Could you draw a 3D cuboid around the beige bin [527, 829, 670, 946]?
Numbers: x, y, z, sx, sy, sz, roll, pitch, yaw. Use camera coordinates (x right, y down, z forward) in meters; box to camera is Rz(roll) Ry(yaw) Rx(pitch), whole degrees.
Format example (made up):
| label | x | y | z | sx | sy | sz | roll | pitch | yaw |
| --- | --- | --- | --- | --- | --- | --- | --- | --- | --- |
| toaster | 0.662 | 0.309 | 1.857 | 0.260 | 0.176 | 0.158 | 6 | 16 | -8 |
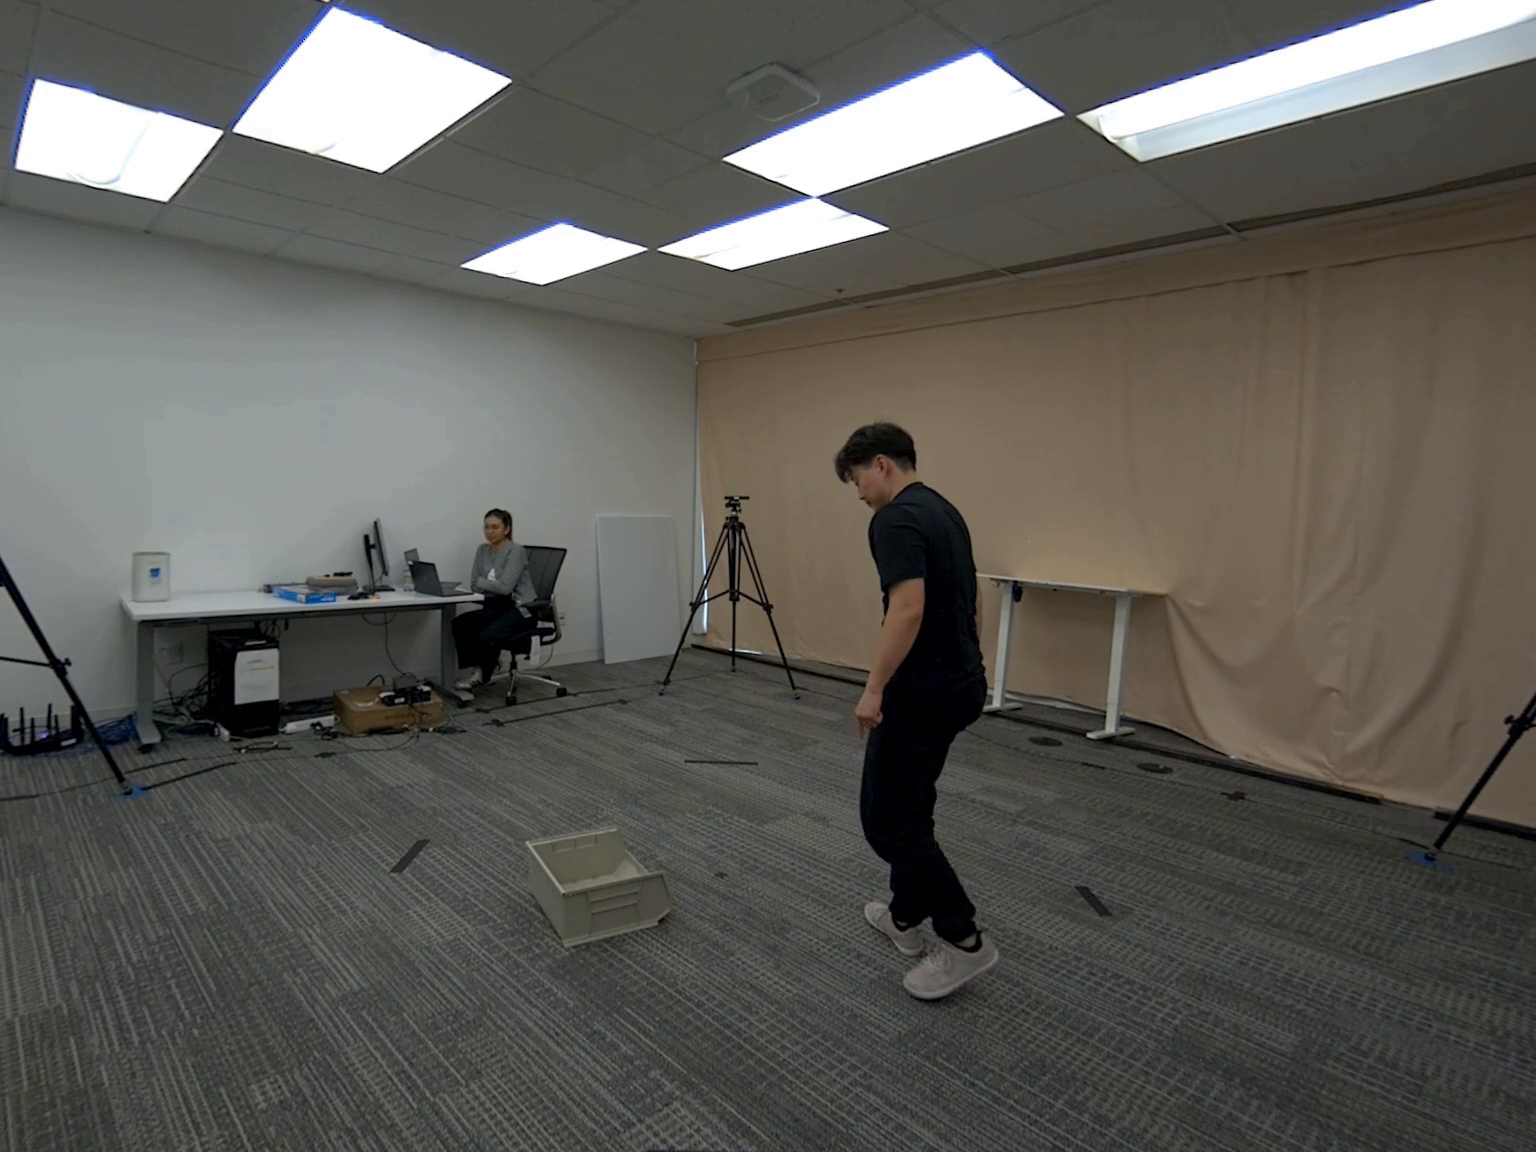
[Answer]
| label | x | y | z | sx | sy | sz | roll | pitch | yaw |
| --- | --- | --- | --- | --- | --- | --- | --- | --- | --- |
| beige bin | -0.586 | 1.036 | 2.835 | 0.370 | 0.188 | 0.432 | -2 | 7 | -30 |
